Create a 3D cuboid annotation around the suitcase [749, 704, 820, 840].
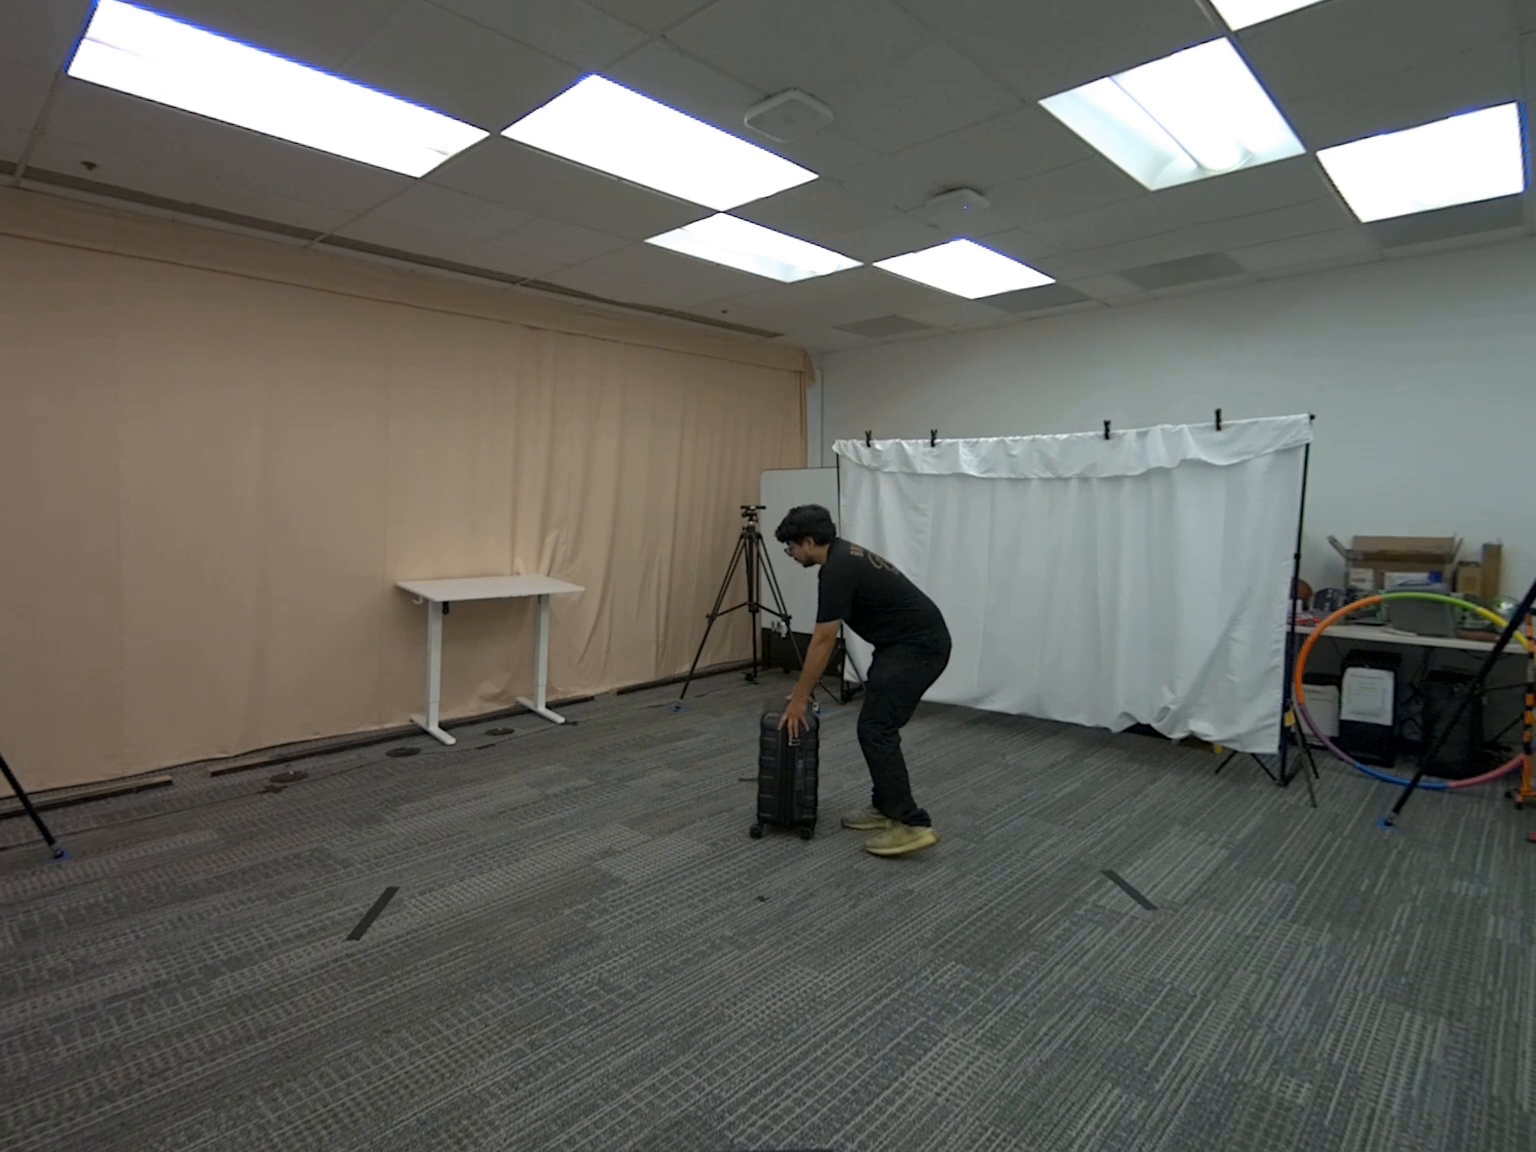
[{"bbox_3d":[0.096,0.816,3.660,0.250,0.548,0.374,2,3,4],"label":"suitcase"}]
